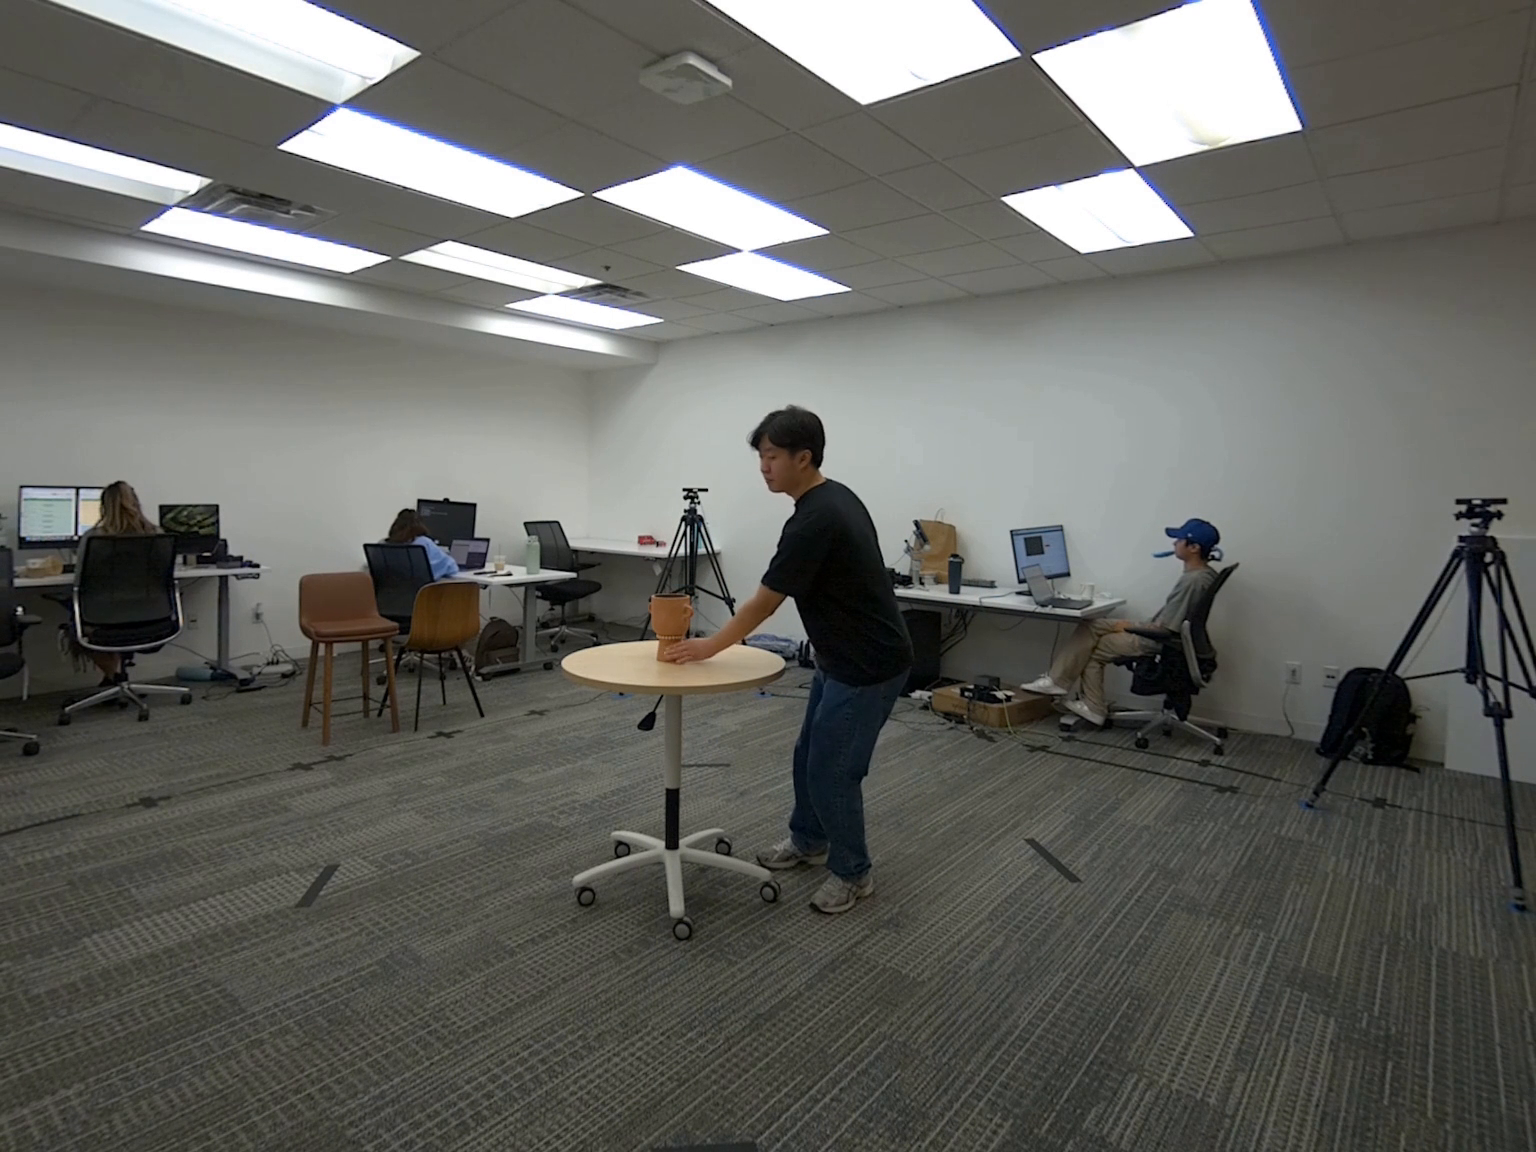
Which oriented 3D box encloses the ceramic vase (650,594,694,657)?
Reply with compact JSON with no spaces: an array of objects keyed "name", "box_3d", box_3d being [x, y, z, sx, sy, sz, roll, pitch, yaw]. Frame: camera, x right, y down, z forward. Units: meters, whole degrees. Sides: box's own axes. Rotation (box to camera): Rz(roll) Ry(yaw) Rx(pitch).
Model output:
[{"name":"ceramic vase","box_3d":[-0.345,0.176,2.949,0.132,0.219,0.162,-1,5,-17]}]
